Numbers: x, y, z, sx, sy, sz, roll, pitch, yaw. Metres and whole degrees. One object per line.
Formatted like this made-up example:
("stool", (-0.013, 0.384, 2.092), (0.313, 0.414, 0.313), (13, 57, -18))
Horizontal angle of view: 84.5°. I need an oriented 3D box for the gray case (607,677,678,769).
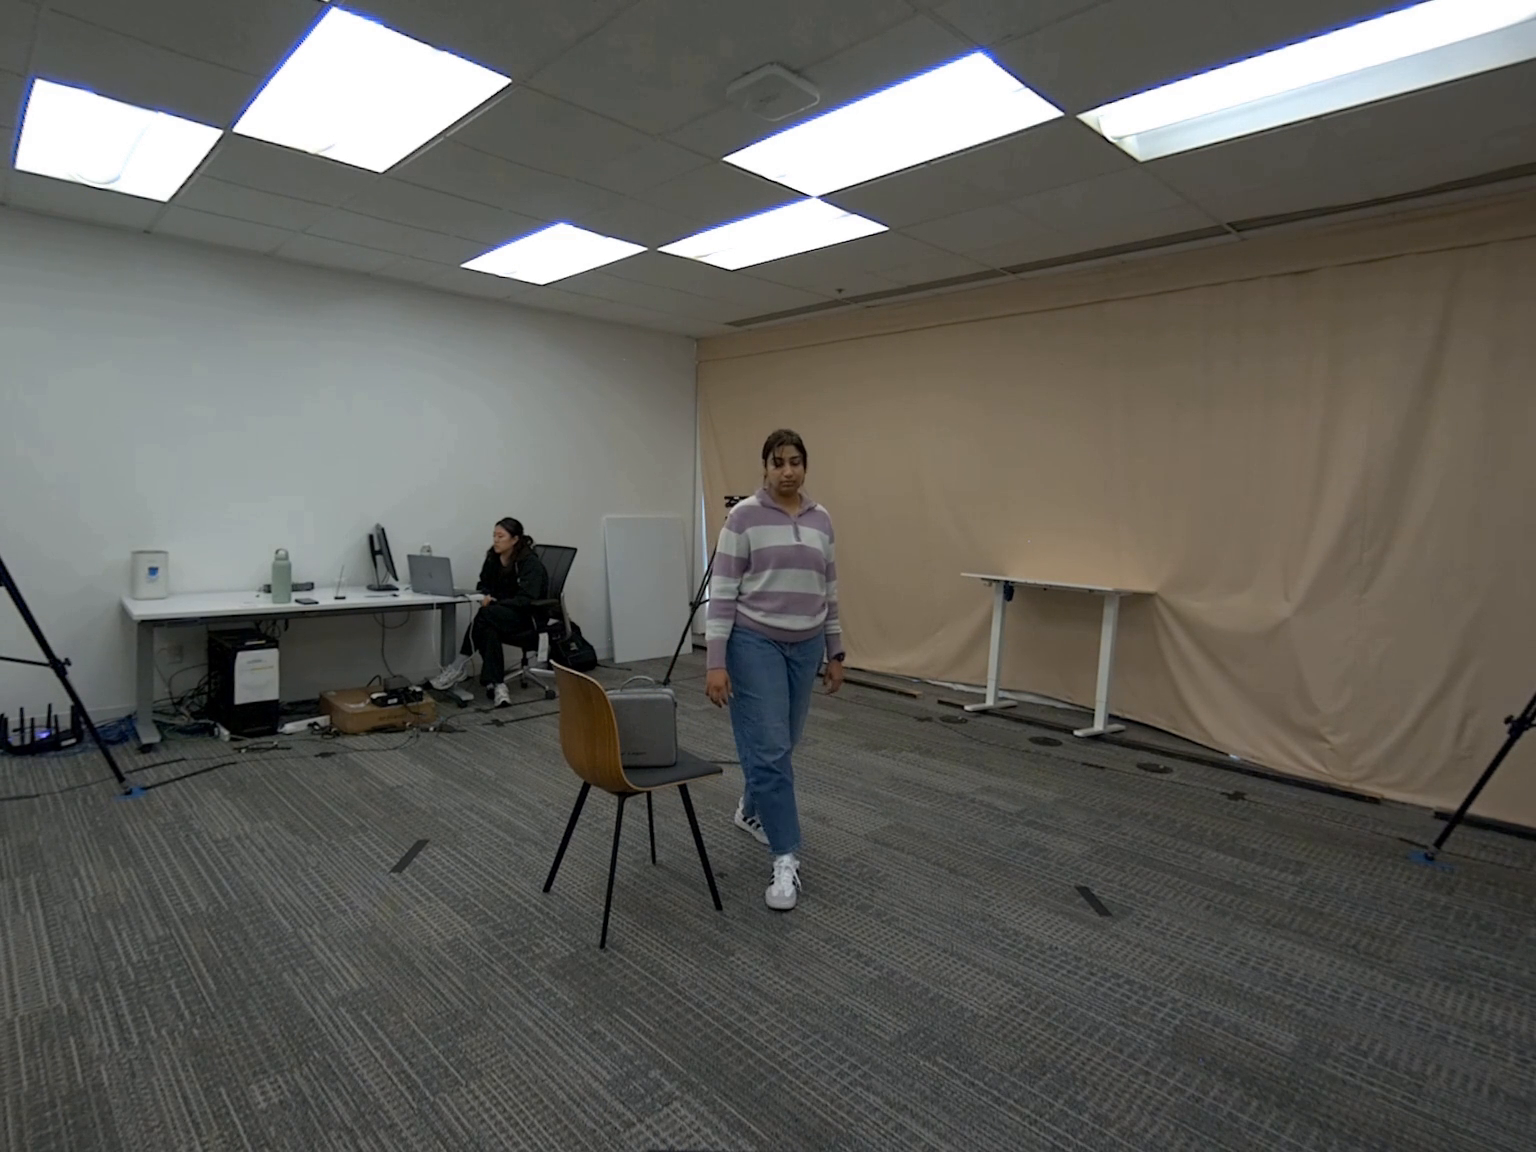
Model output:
("gray case", (-0.448, 0.511, 2.853), (0.257, 0.260, 0.104), (-1, 4, 2))
